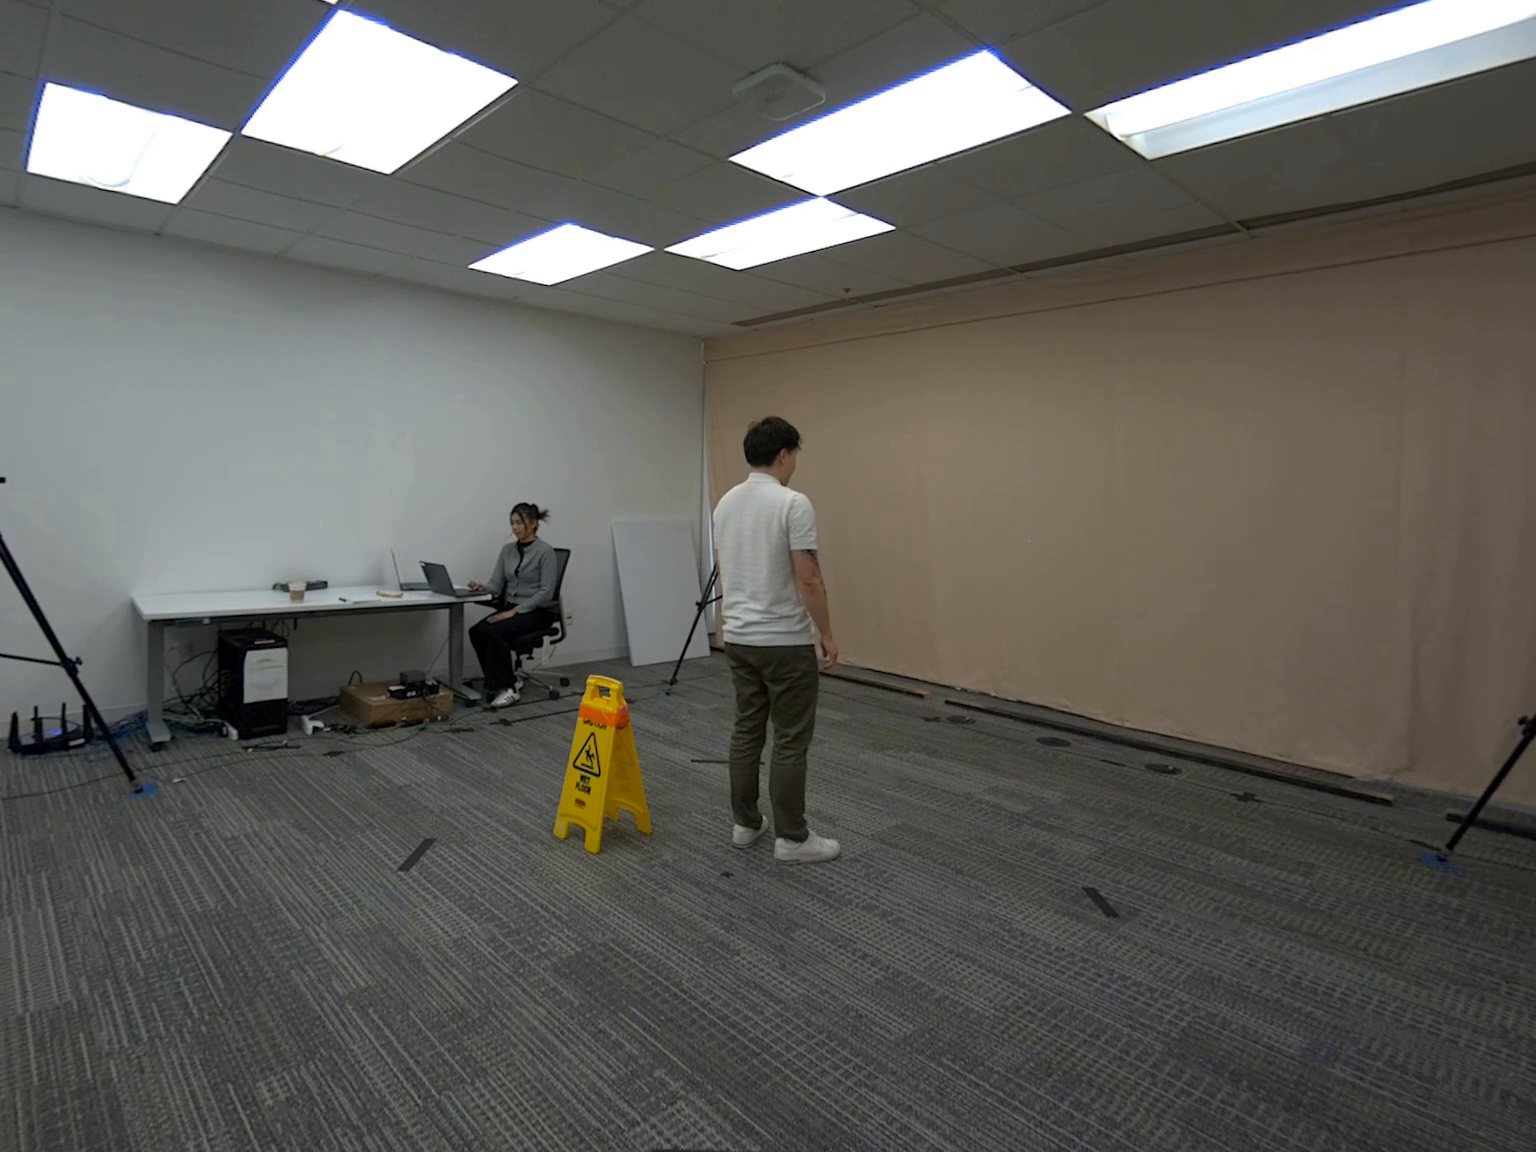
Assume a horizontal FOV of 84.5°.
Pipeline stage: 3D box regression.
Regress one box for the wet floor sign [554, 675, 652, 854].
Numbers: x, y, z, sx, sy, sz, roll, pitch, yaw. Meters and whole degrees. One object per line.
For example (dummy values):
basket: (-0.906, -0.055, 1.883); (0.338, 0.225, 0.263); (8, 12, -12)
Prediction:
wet floor sign: (-0.672, 0.734, 3.437); (0.289, 0.644, 0.283); (4, 4, 40)
